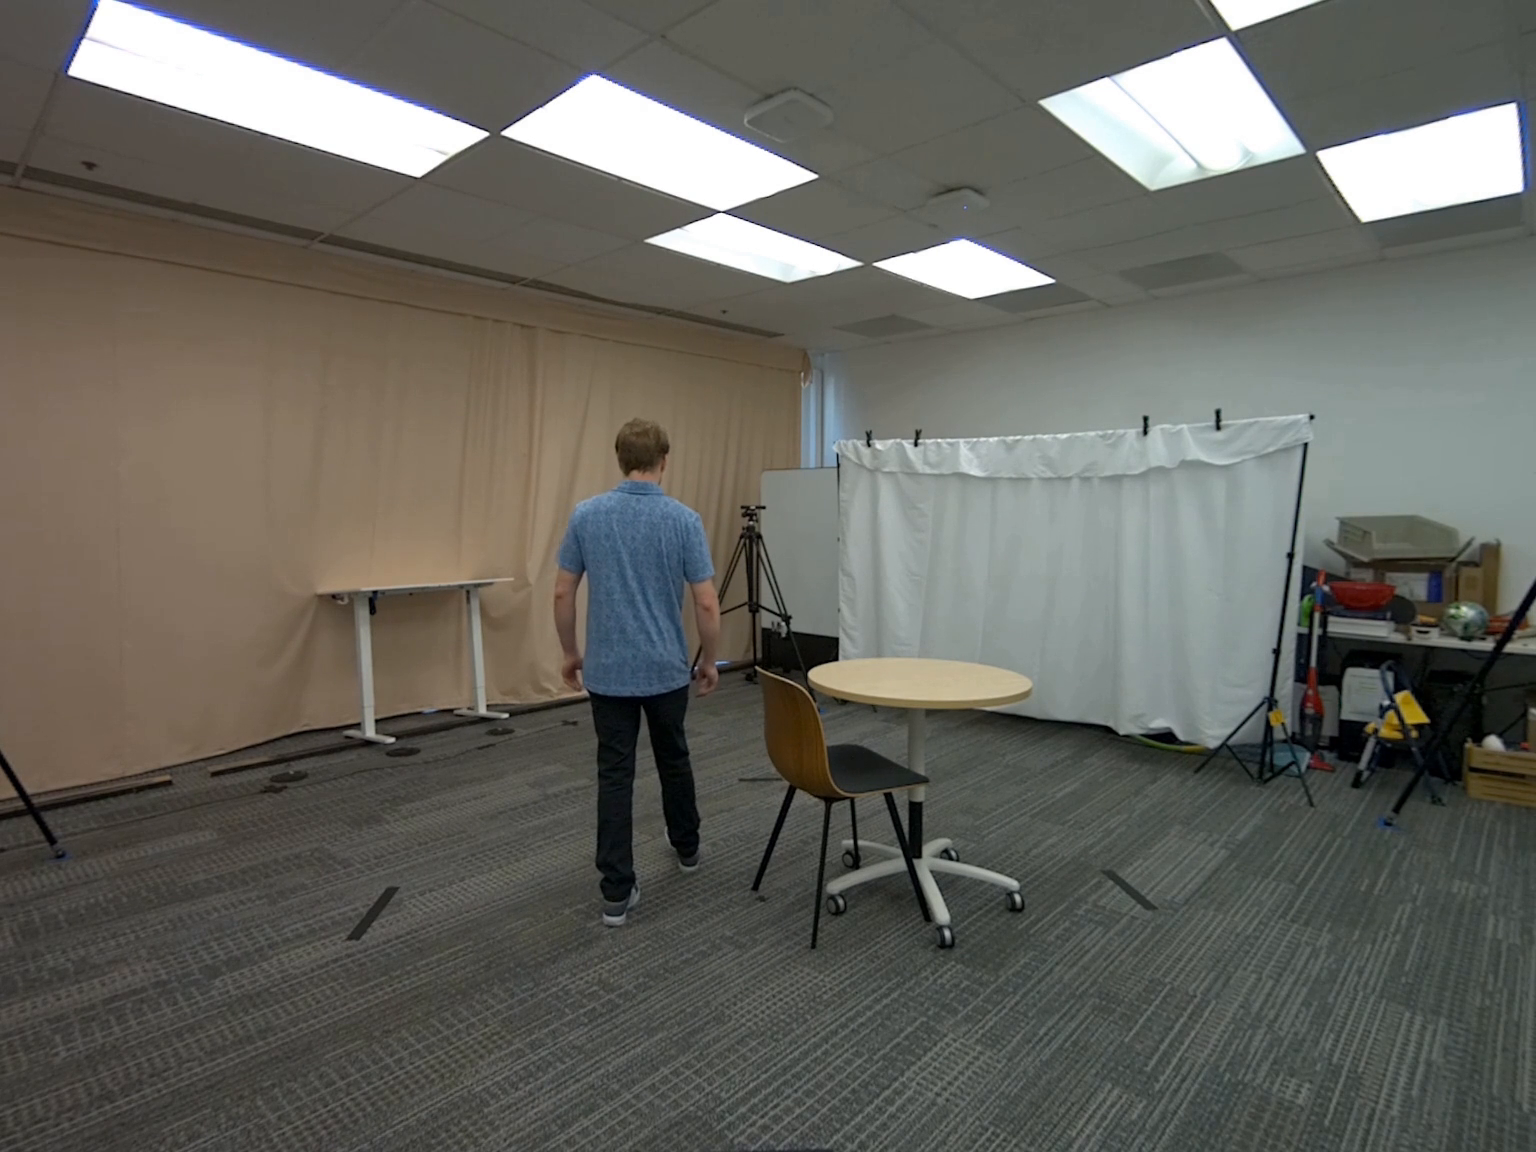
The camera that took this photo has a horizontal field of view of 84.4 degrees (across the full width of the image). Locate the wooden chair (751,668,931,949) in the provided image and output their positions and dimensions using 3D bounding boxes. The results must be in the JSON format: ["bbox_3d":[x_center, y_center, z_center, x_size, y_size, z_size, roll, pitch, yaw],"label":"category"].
[{"bbox_3d":[0.250,0.724,2.901,0.511,0.874,0.491,-6,5,-26],"label":"wooden chair"}]
